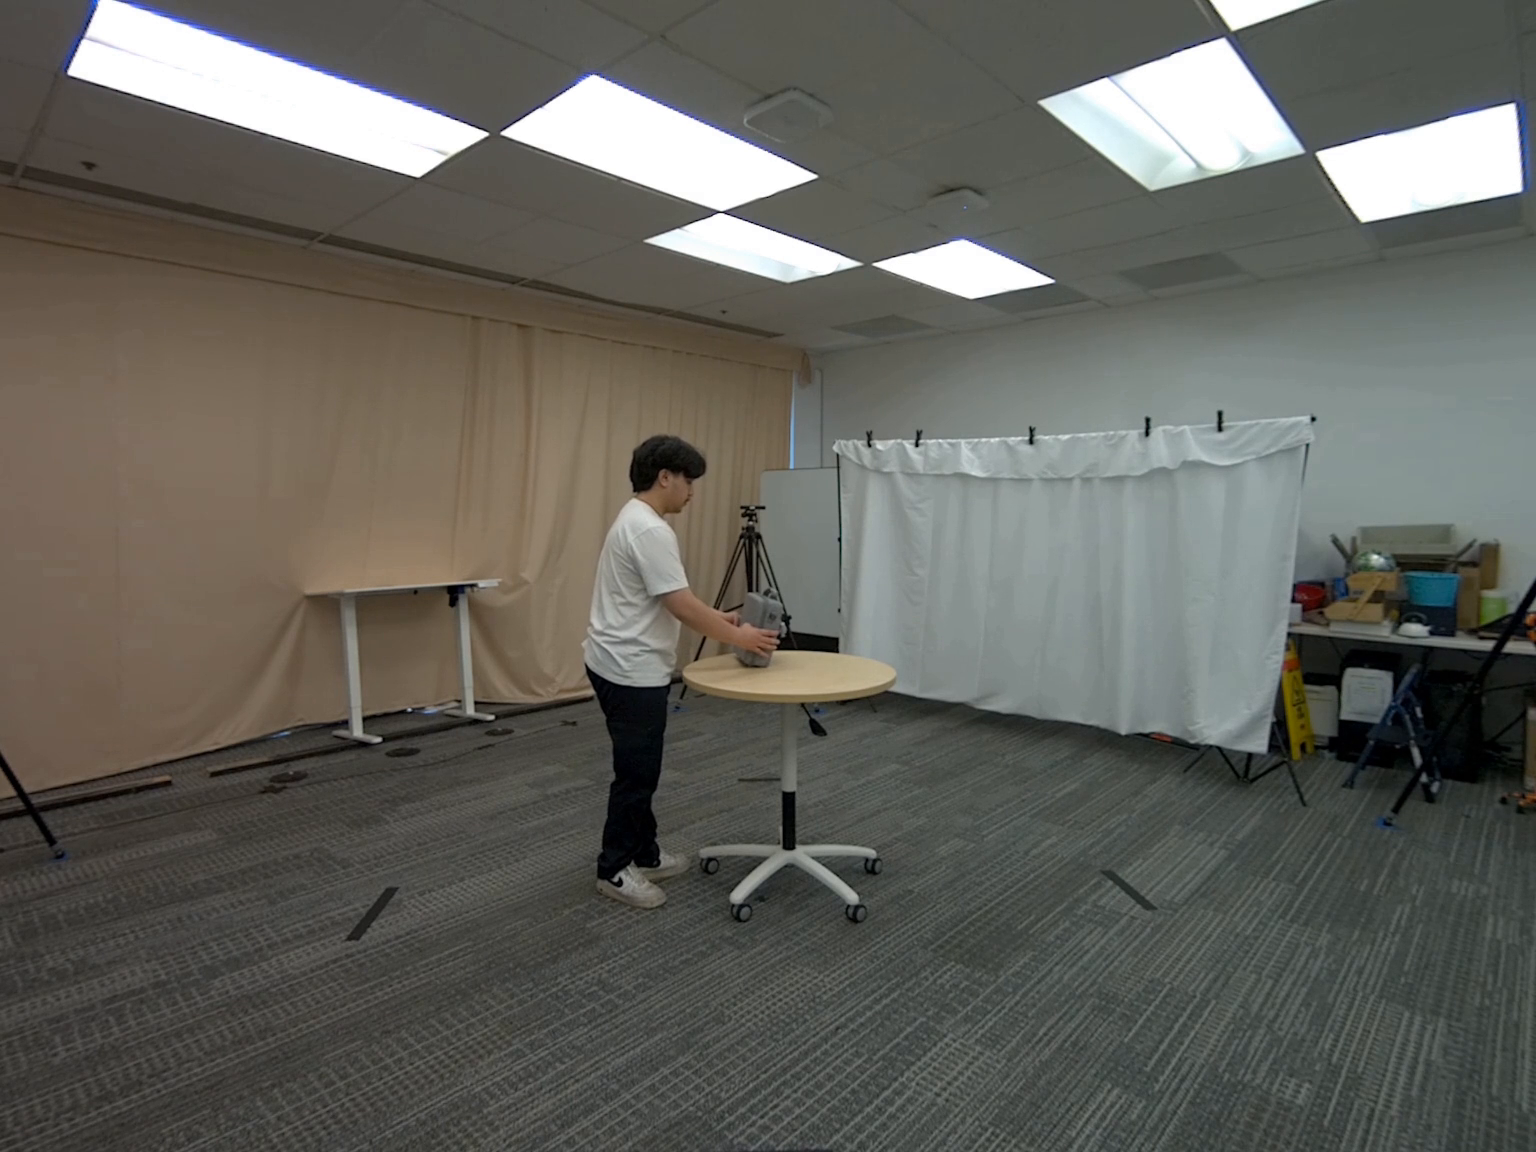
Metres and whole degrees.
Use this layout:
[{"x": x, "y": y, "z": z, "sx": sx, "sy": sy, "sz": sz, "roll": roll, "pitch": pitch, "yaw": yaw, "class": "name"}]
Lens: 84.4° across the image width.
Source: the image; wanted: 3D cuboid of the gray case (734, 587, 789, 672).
[{"x": -0.030, "y": 0.193, "z": 3.188, "sx": 0.103, "sy": 0.260, "sz": 0.260, "roll": 12, "pitch": 3, "yaw": -12, "class": "gray case"}]
